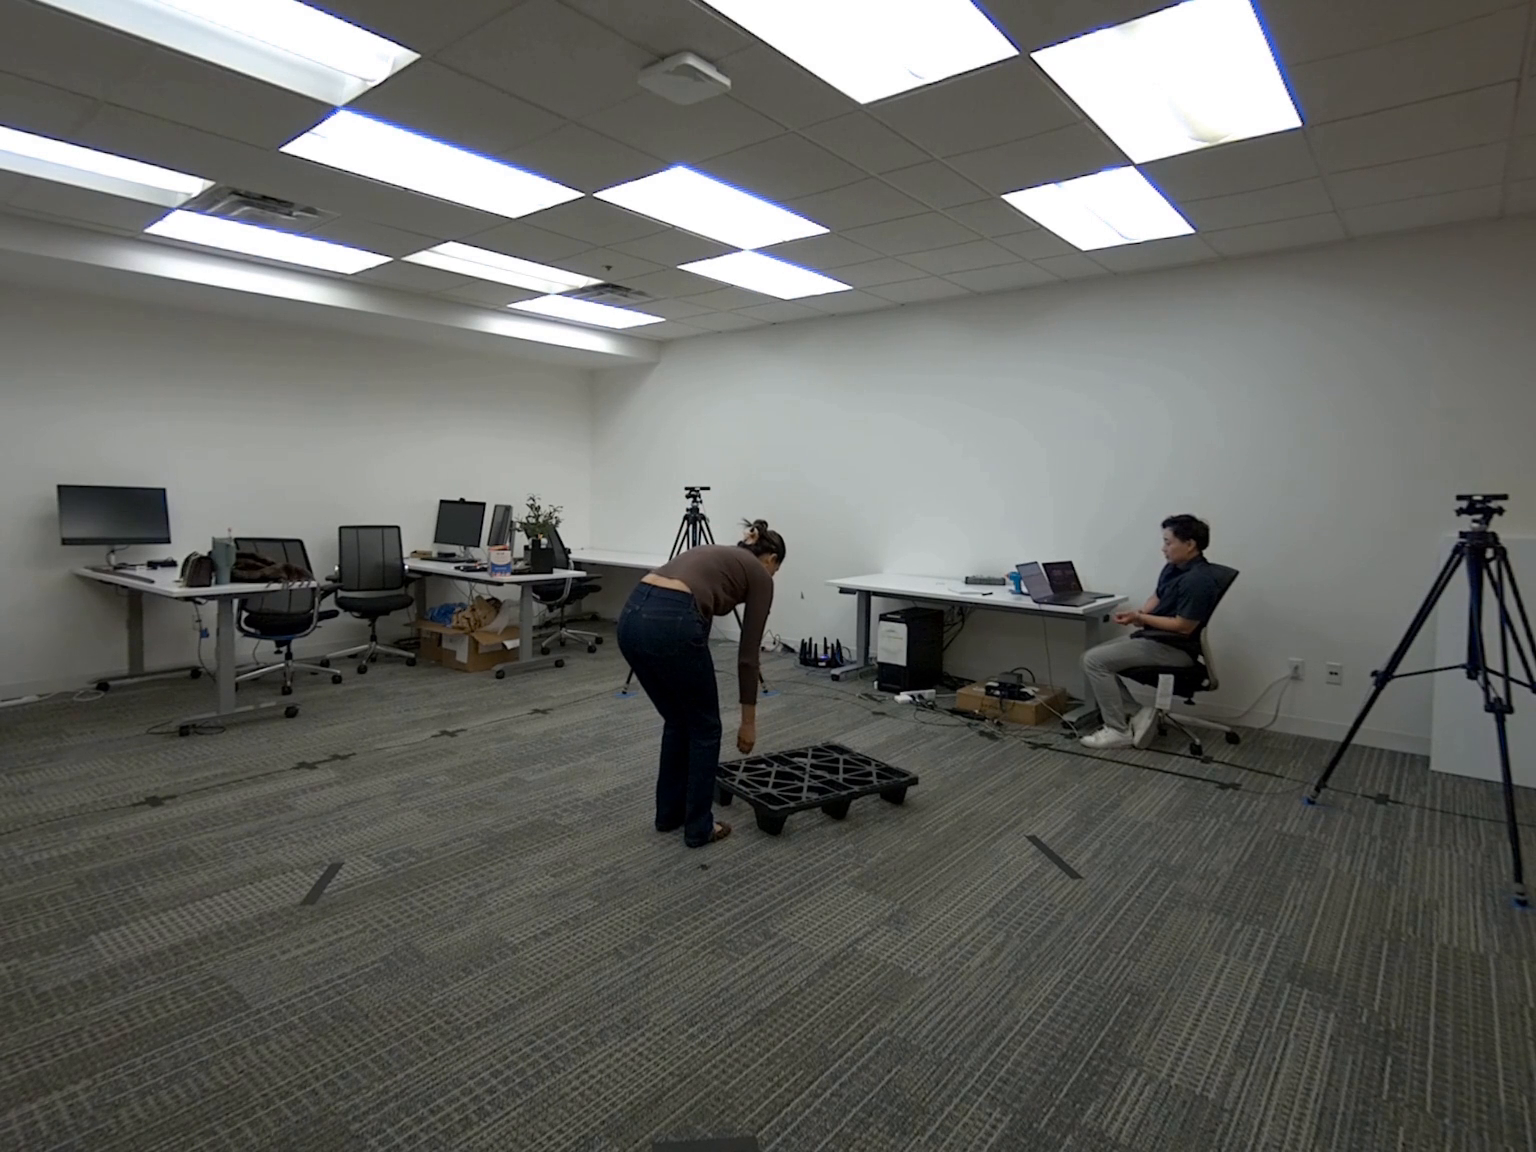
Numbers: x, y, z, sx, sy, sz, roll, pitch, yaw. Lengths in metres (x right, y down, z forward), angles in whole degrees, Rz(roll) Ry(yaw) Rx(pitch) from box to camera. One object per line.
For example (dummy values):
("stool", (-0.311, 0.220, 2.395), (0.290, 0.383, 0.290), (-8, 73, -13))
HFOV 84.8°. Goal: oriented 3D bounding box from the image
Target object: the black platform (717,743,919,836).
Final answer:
("black platform", (0.161, 0.935, 3.804), (0.783, 0.143, 0.625), (-2, 6, -34))
